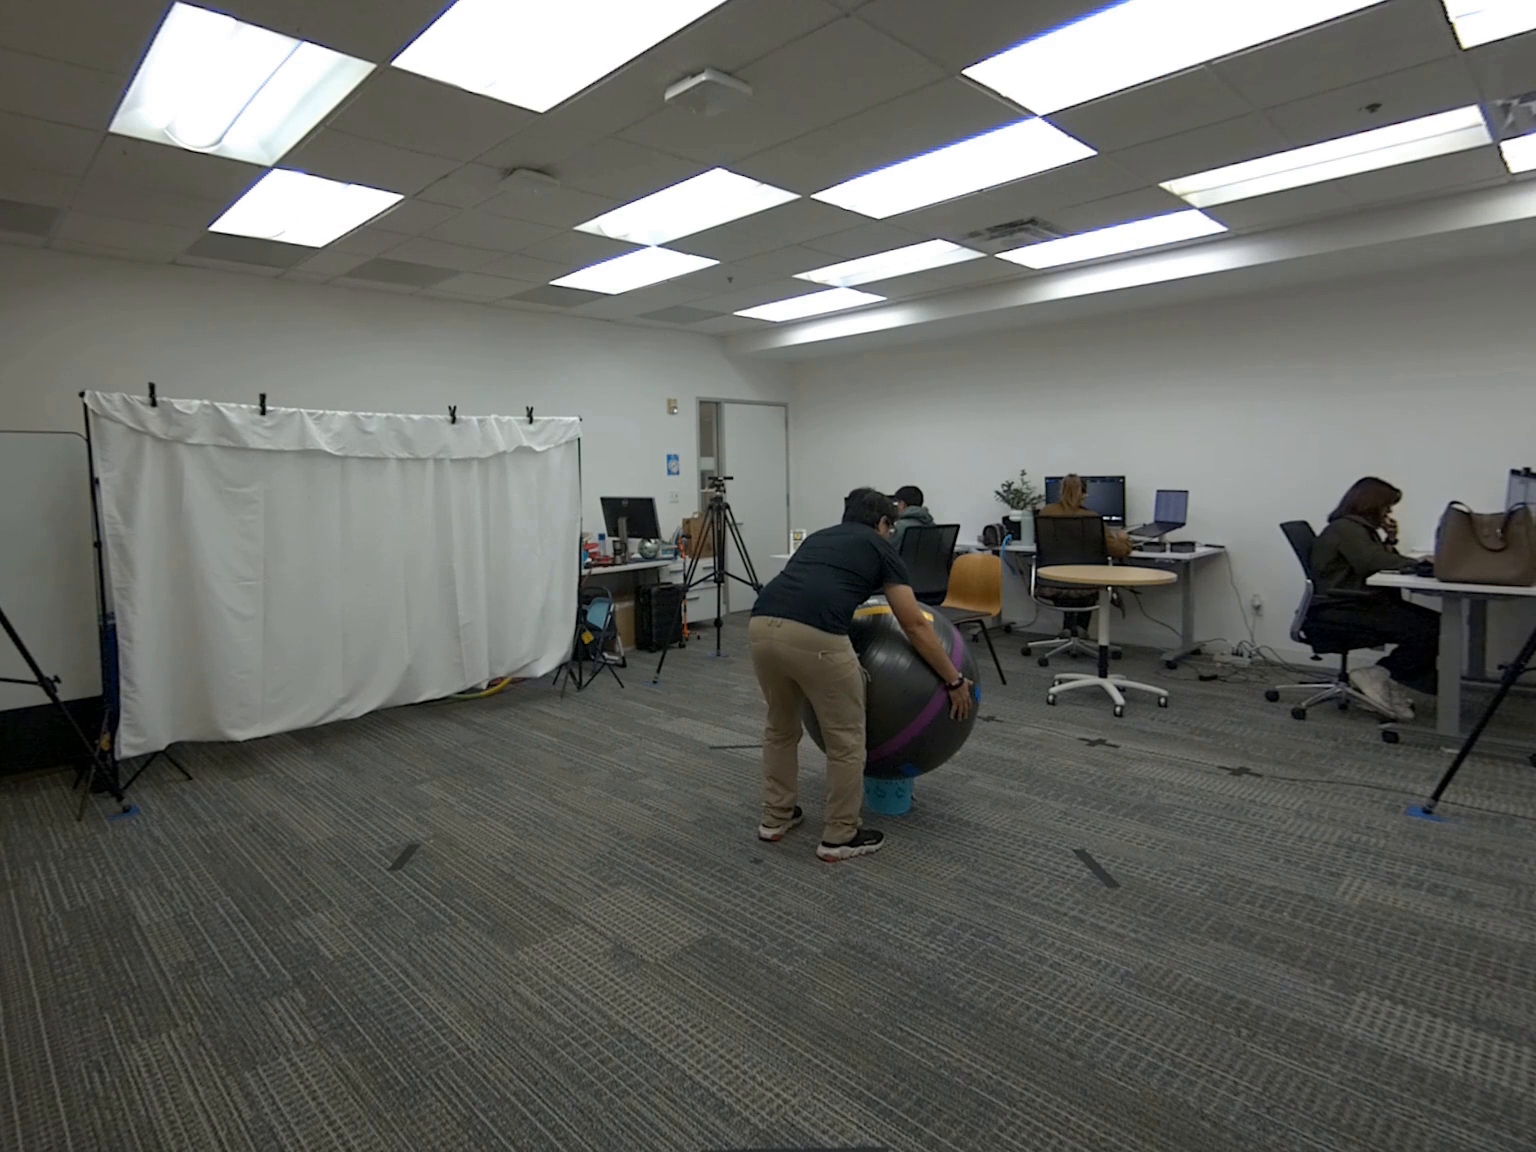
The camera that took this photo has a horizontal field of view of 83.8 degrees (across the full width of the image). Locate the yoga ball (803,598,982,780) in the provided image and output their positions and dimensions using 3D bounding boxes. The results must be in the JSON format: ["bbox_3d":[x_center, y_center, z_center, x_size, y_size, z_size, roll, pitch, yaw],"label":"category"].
[{"bbox_3d":[0.493,0.467,3.568,0.757,0.755,0.762,-1,5,-2],"label":"yoga ball"}]
